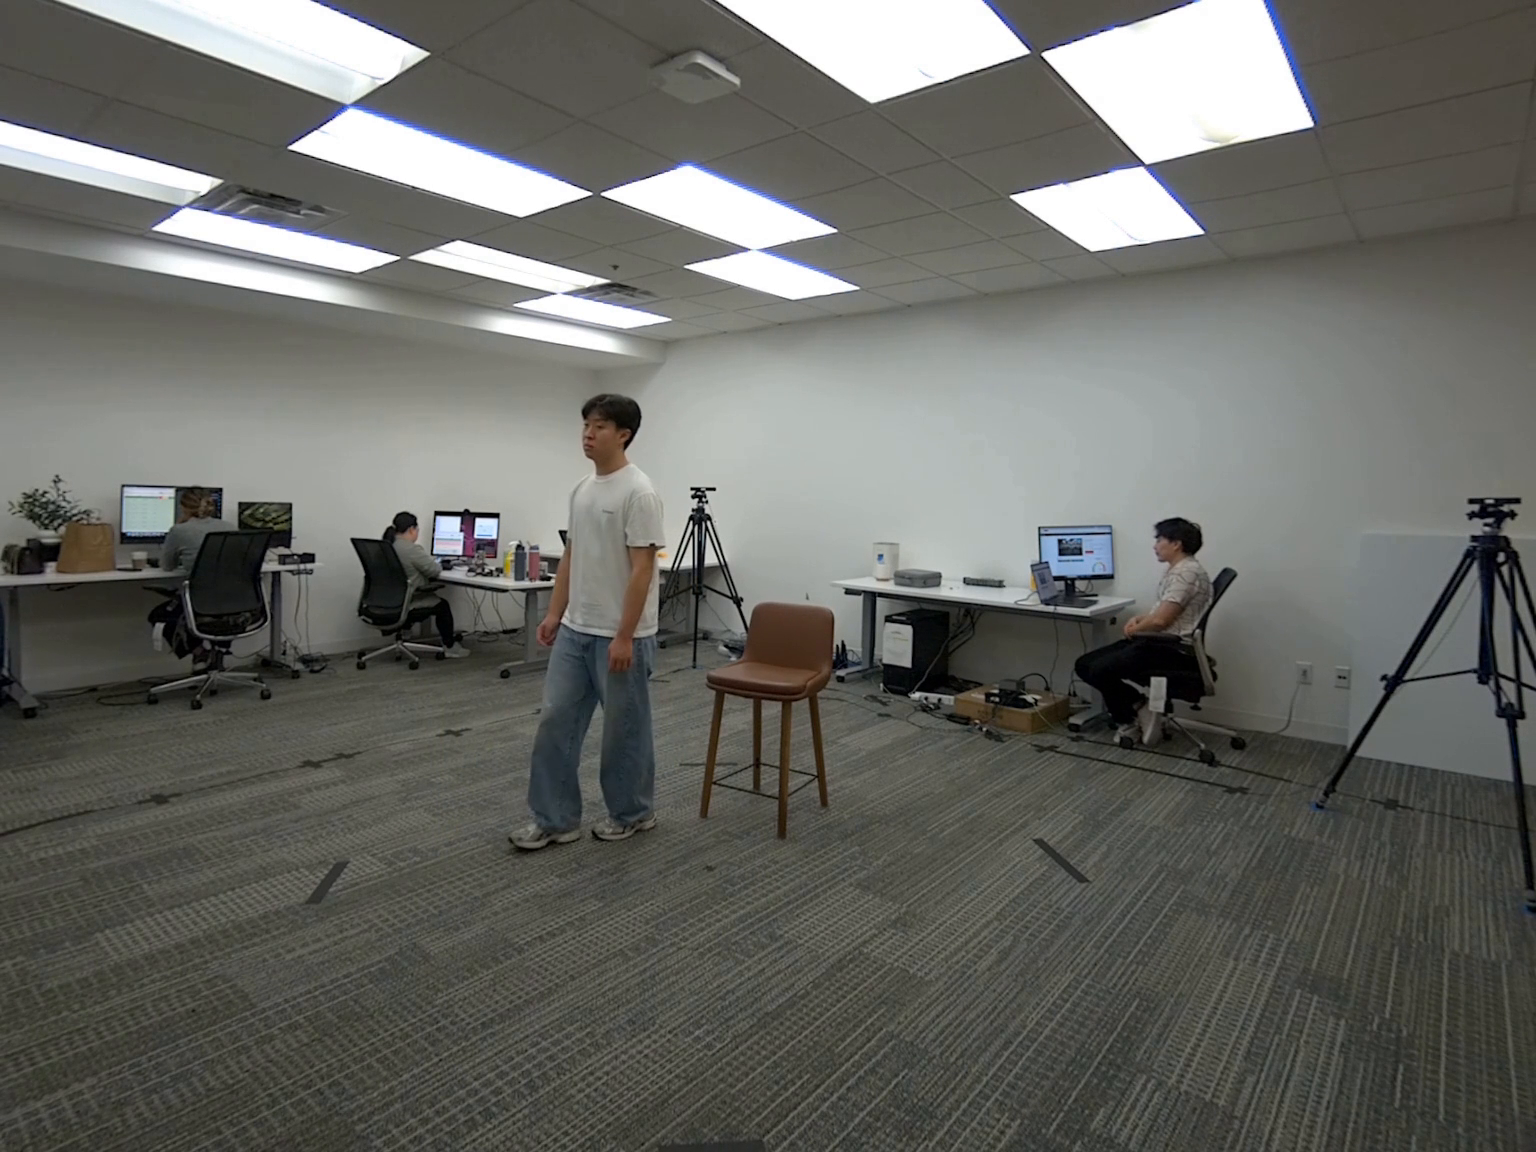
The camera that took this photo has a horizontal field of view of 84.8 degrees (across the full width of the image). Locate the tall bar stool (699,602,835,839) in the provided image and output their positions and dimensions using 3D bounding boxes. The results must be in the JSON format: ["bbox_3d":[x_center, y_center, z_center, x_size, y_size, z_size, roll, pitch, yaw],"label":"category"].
[{"bbox_3d":[-0.004,0.579,3.662,0.470,0.889,0.454,4,2,31],"label":"tall bar stool"}]
